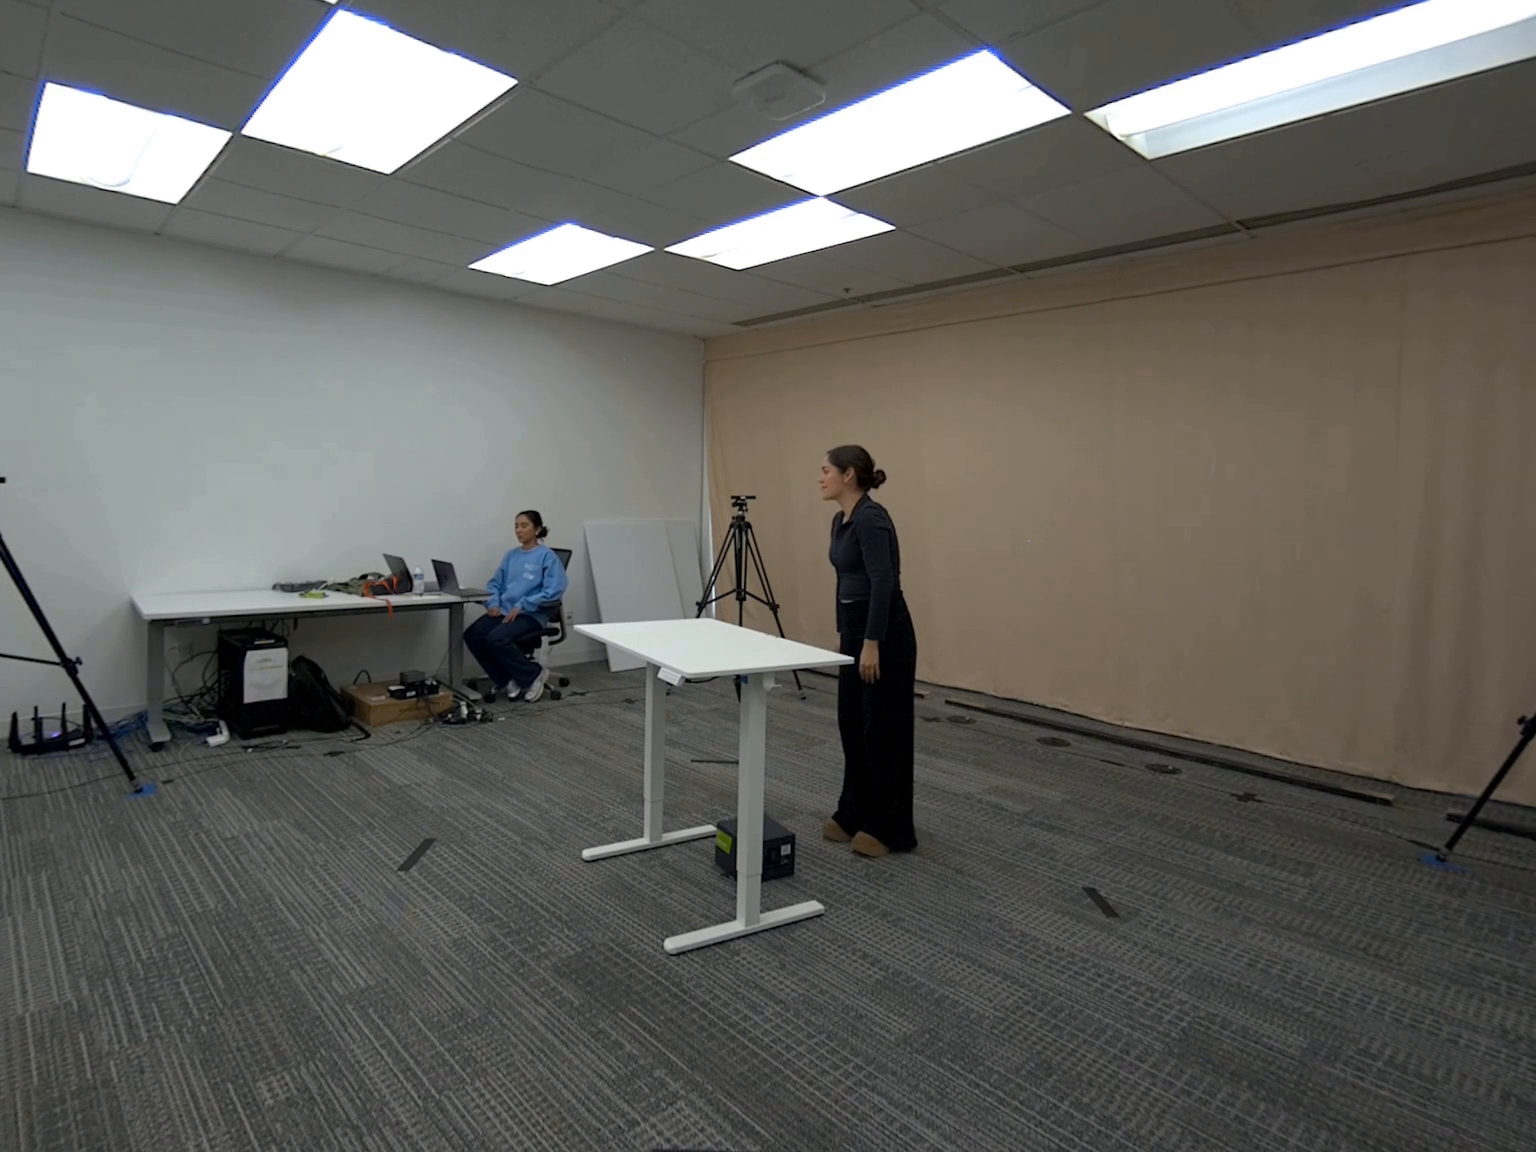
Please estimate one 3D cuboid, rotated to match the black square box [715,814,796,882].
[{"bbox_3d":[-0.056,1.017,3.149,0.213,0.155,0.233,-1,5,-29],"label":"black square box"}]
